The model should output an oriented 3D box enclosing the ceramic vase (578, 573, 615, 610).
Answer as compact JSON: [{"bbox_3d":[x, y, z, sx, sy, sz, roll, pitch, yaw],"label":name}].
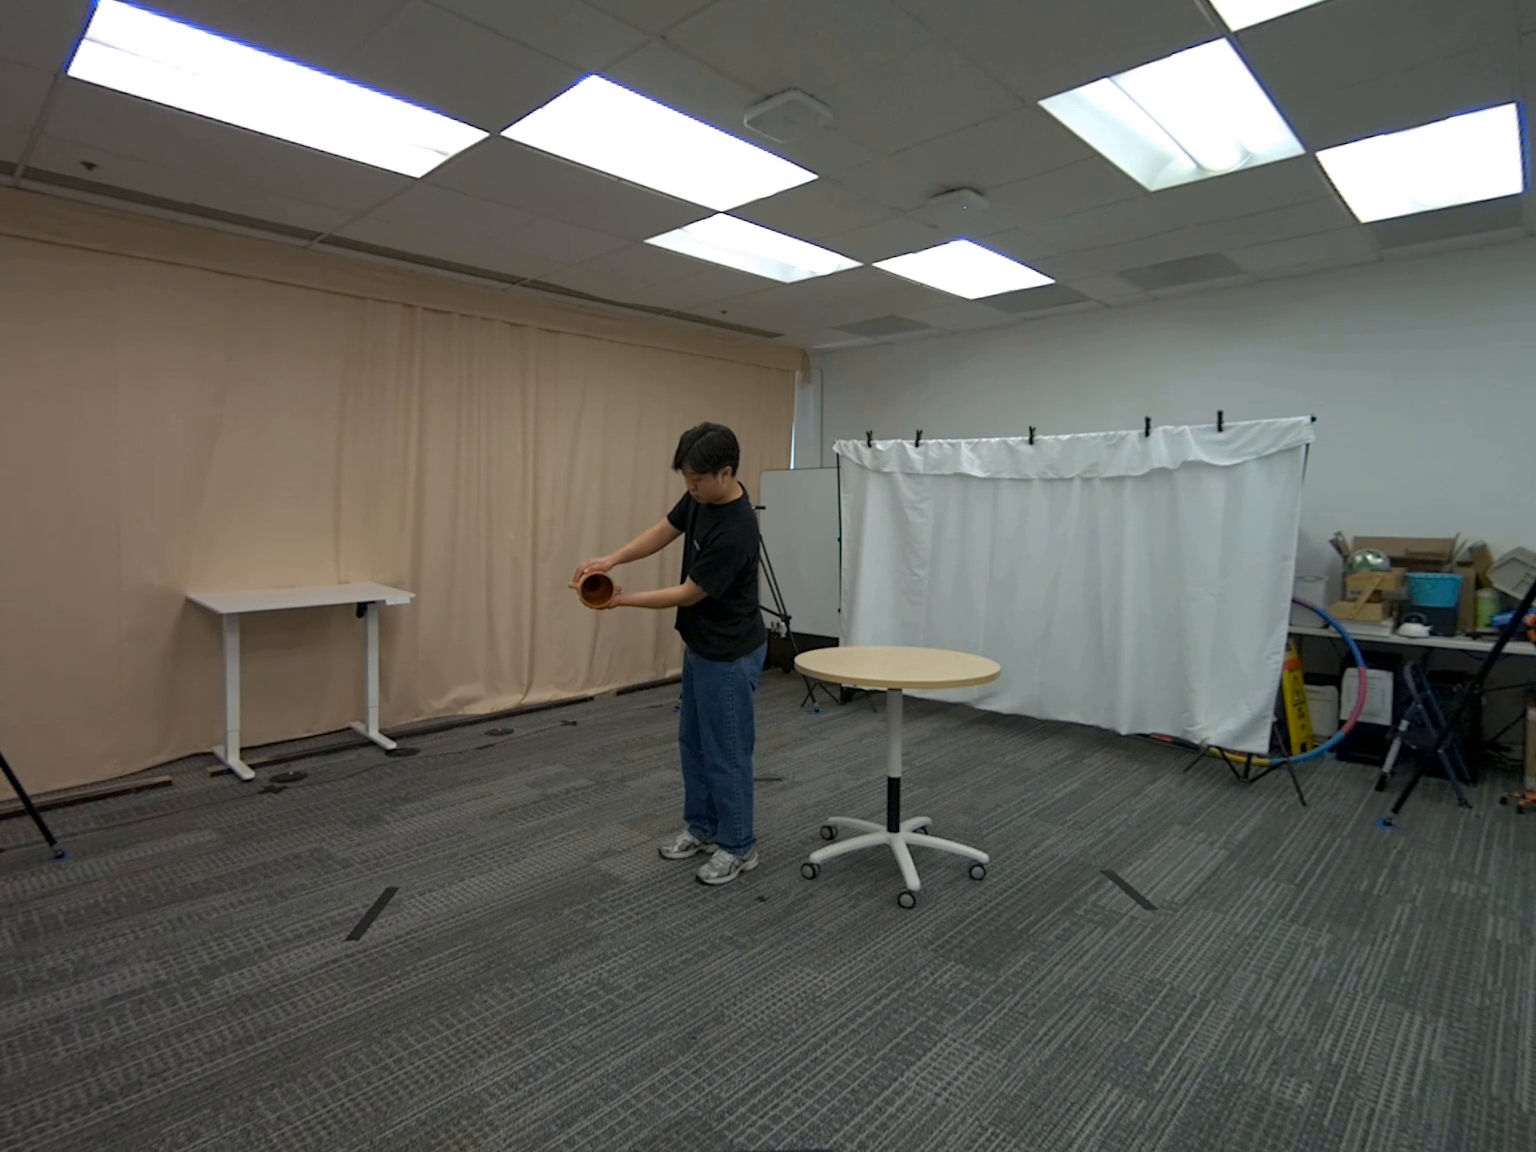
[{"bbox_3d":[-0.639,0.034,3.112,0.155,0.134,0.225,46,-7,-19],"label":"ceramic vase"}]
